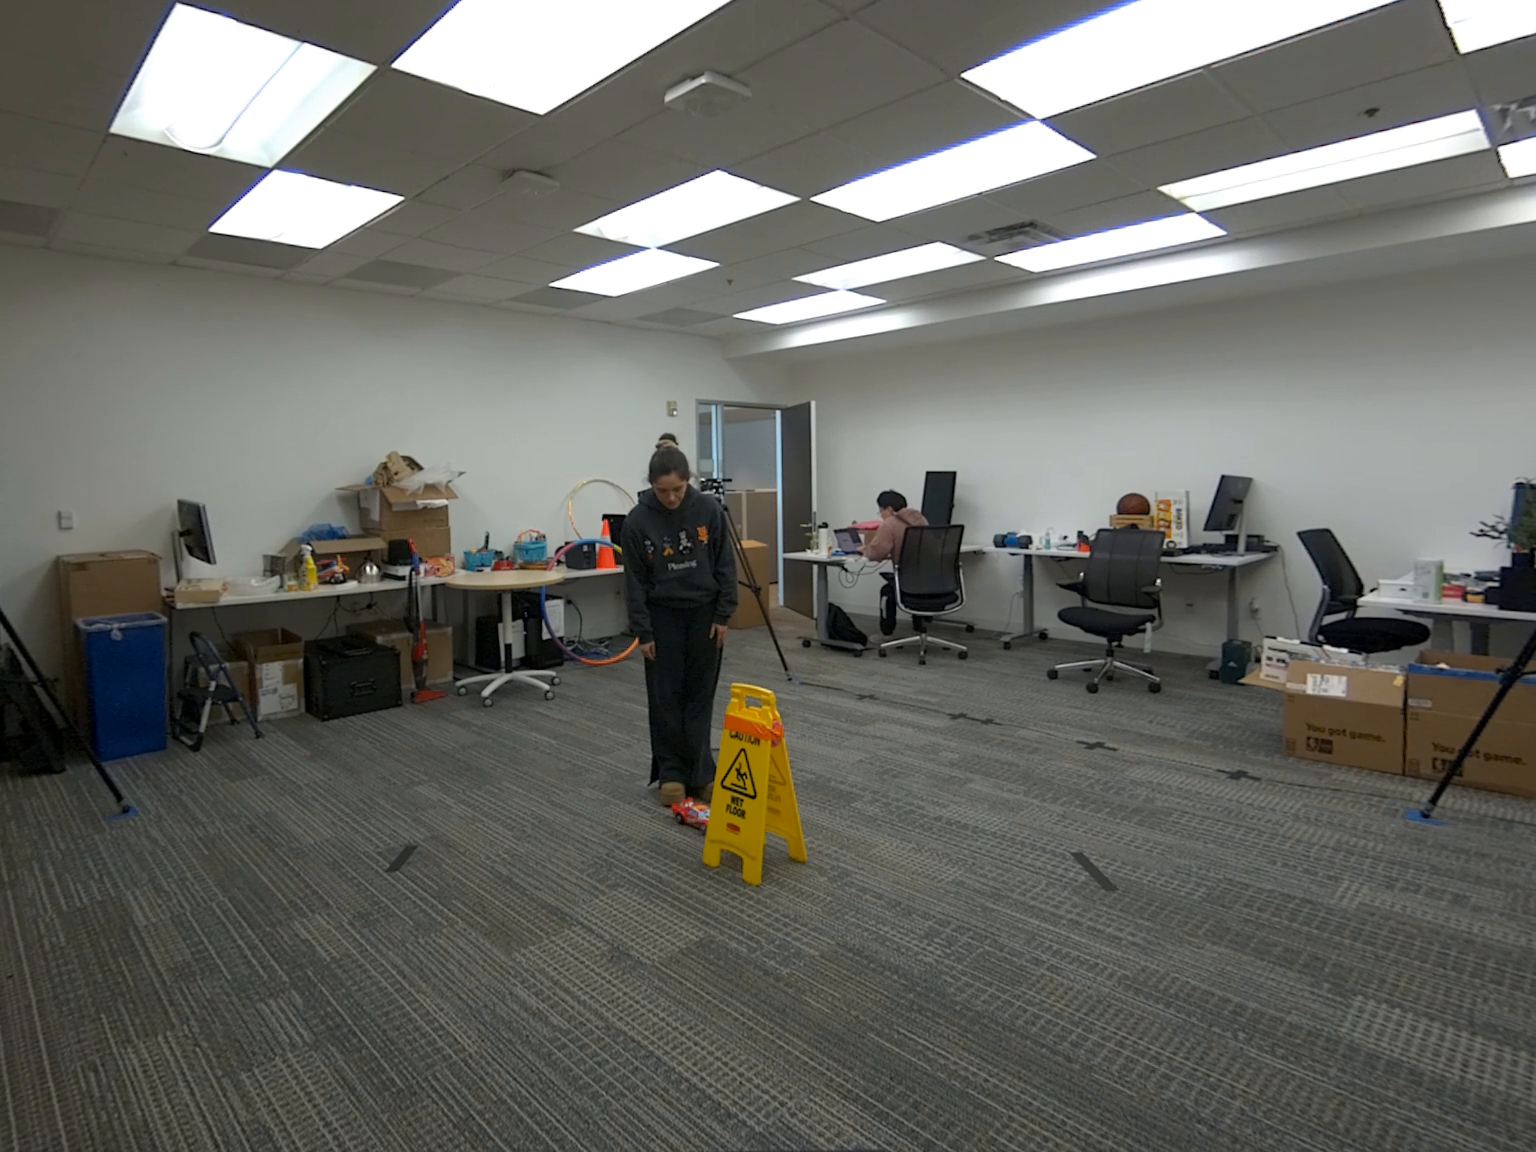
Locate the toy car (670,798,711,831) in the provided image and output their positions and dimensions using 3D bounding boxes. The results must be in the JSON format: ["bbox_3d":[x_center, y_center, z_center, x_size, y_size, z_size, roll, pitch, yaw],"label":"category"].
[{"bbox_3d":[-0.286,0.979,3.455,0.127,0.082,0.264,-6,18,-44],"label":"toy car"}]
